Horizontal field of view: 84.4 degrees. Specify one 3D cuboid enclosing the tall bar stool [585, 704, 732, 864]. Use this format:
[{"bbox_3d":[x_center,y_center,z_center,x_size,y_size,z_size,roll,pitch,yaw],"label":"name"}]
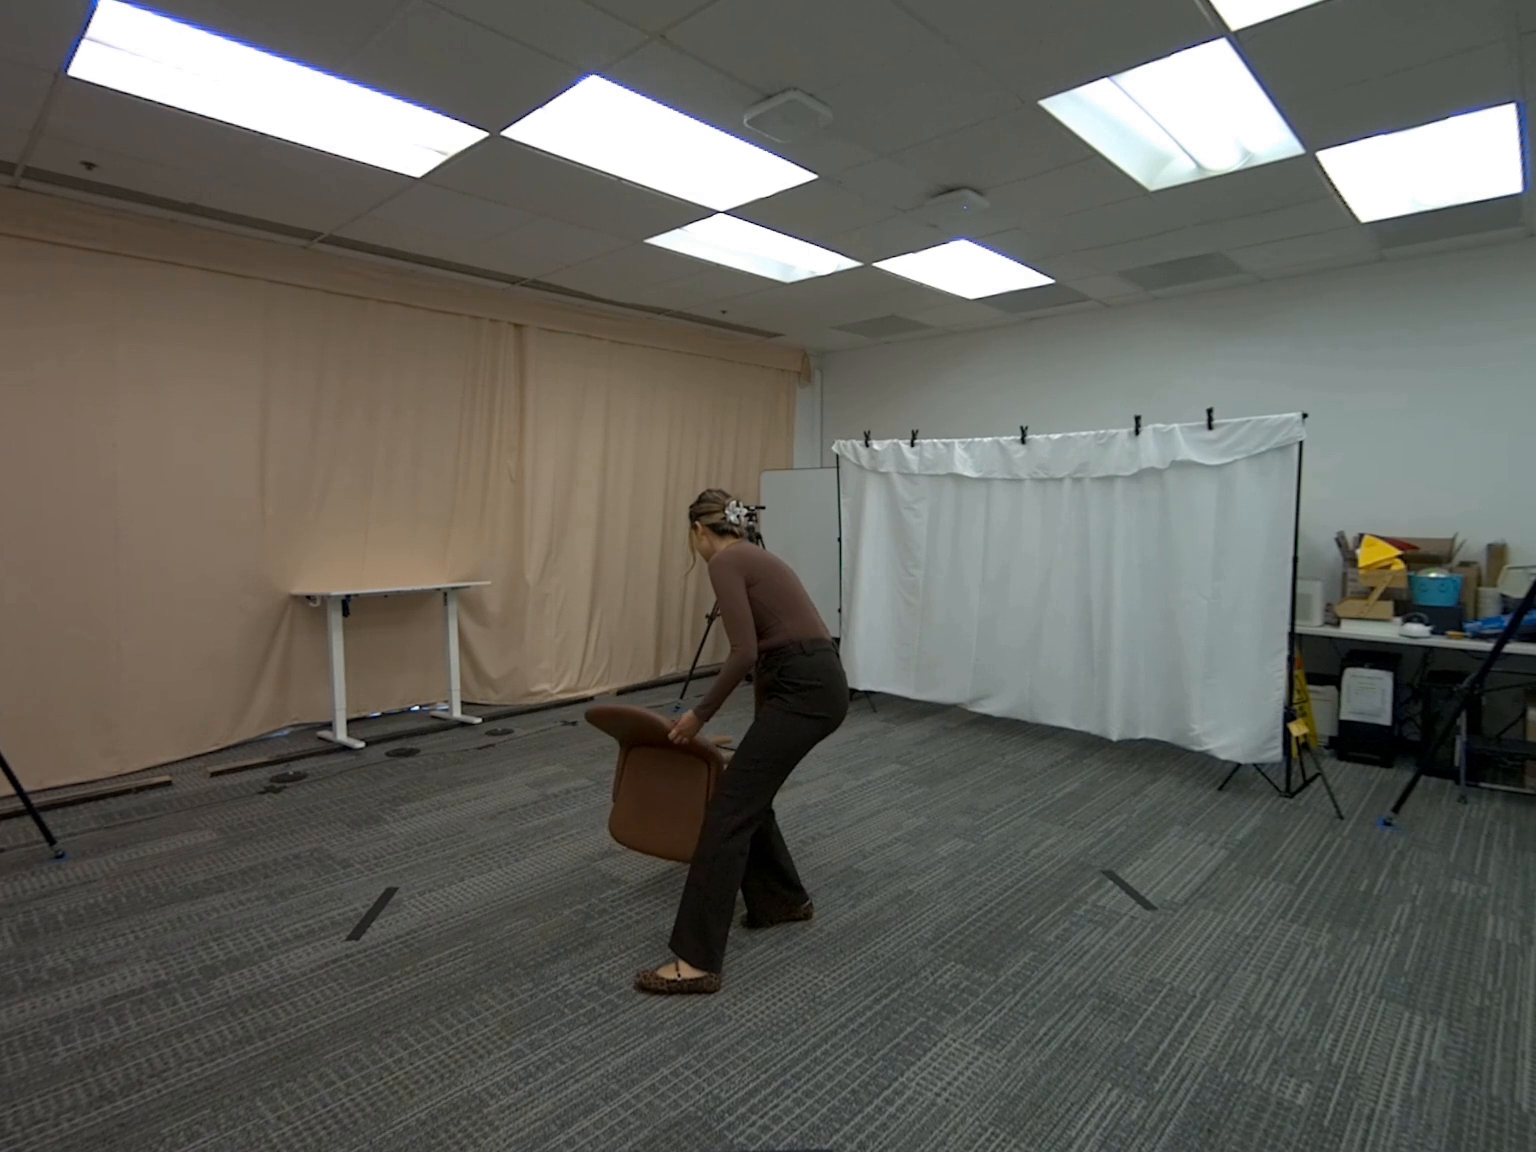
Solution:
[{"bbox_3d":[-0.287,0.780,3.054,0.471,0.470,0.858,2,-16,35],"label":"tall bar stool"}]
